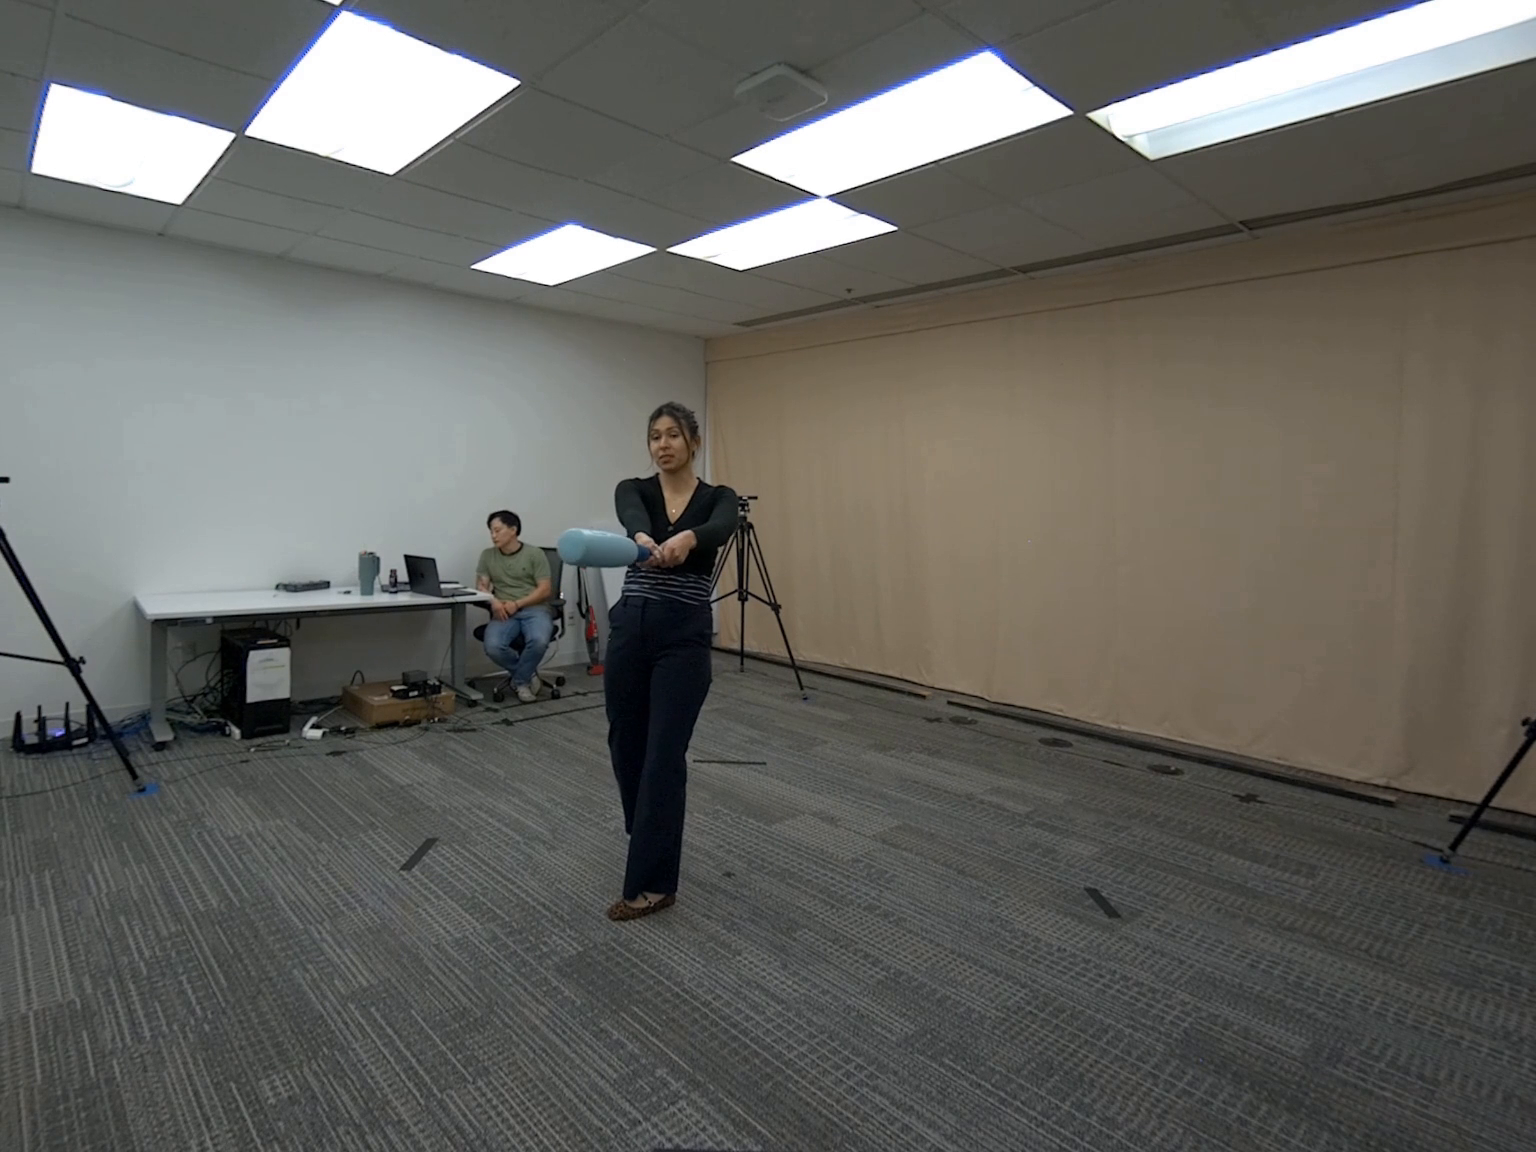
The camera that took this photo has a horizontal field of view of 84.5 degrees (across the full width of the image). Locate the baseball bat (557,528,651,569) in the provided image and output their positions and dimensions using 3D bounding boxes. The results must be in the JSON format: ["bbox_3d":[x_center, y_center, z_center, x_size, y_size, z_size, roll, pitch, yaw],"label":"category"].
[{"bbox_3d":[-0.382,-0.058,2.142,0.090,0.089,0.534,3,0,18],"label":"baseball bat"}]
